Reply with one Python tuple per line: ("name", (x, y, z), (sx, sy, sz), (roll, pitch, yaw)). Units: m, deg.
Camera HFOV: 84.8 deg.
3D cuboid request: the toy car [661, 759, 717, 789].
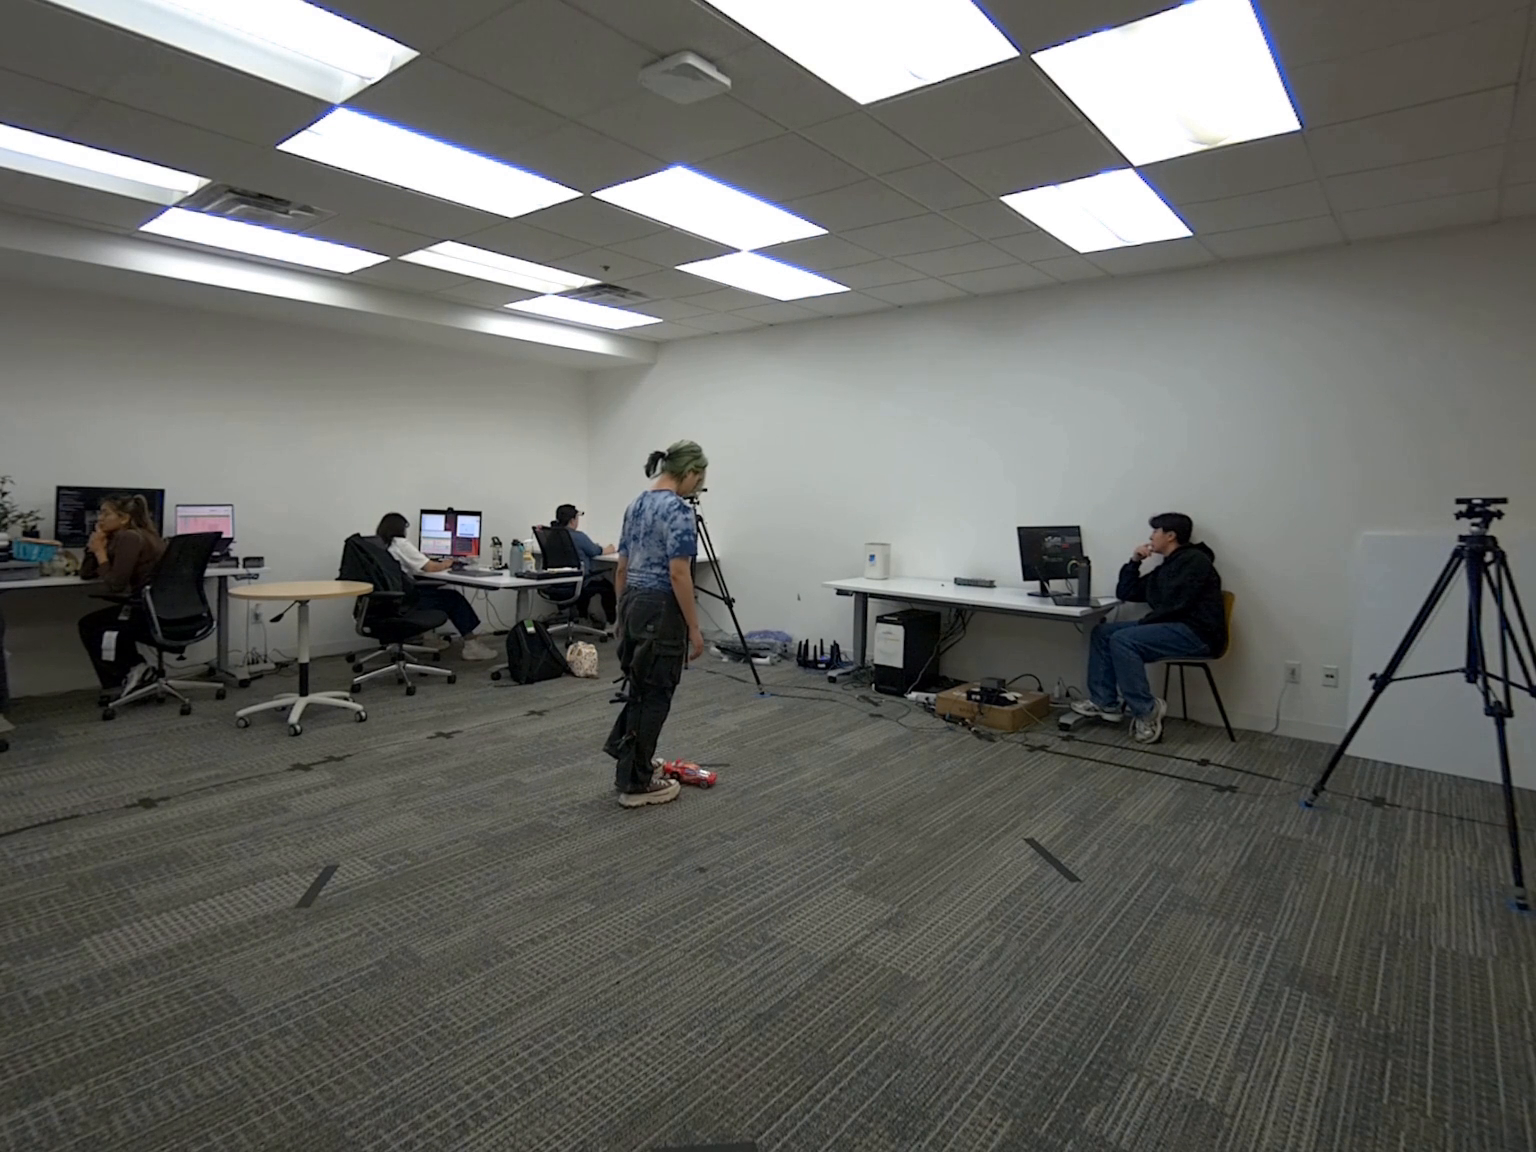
("toy car", (-0.383, 0.939, 4.034), (0.259, 0.083, 0.128), (20, 9, 14))
